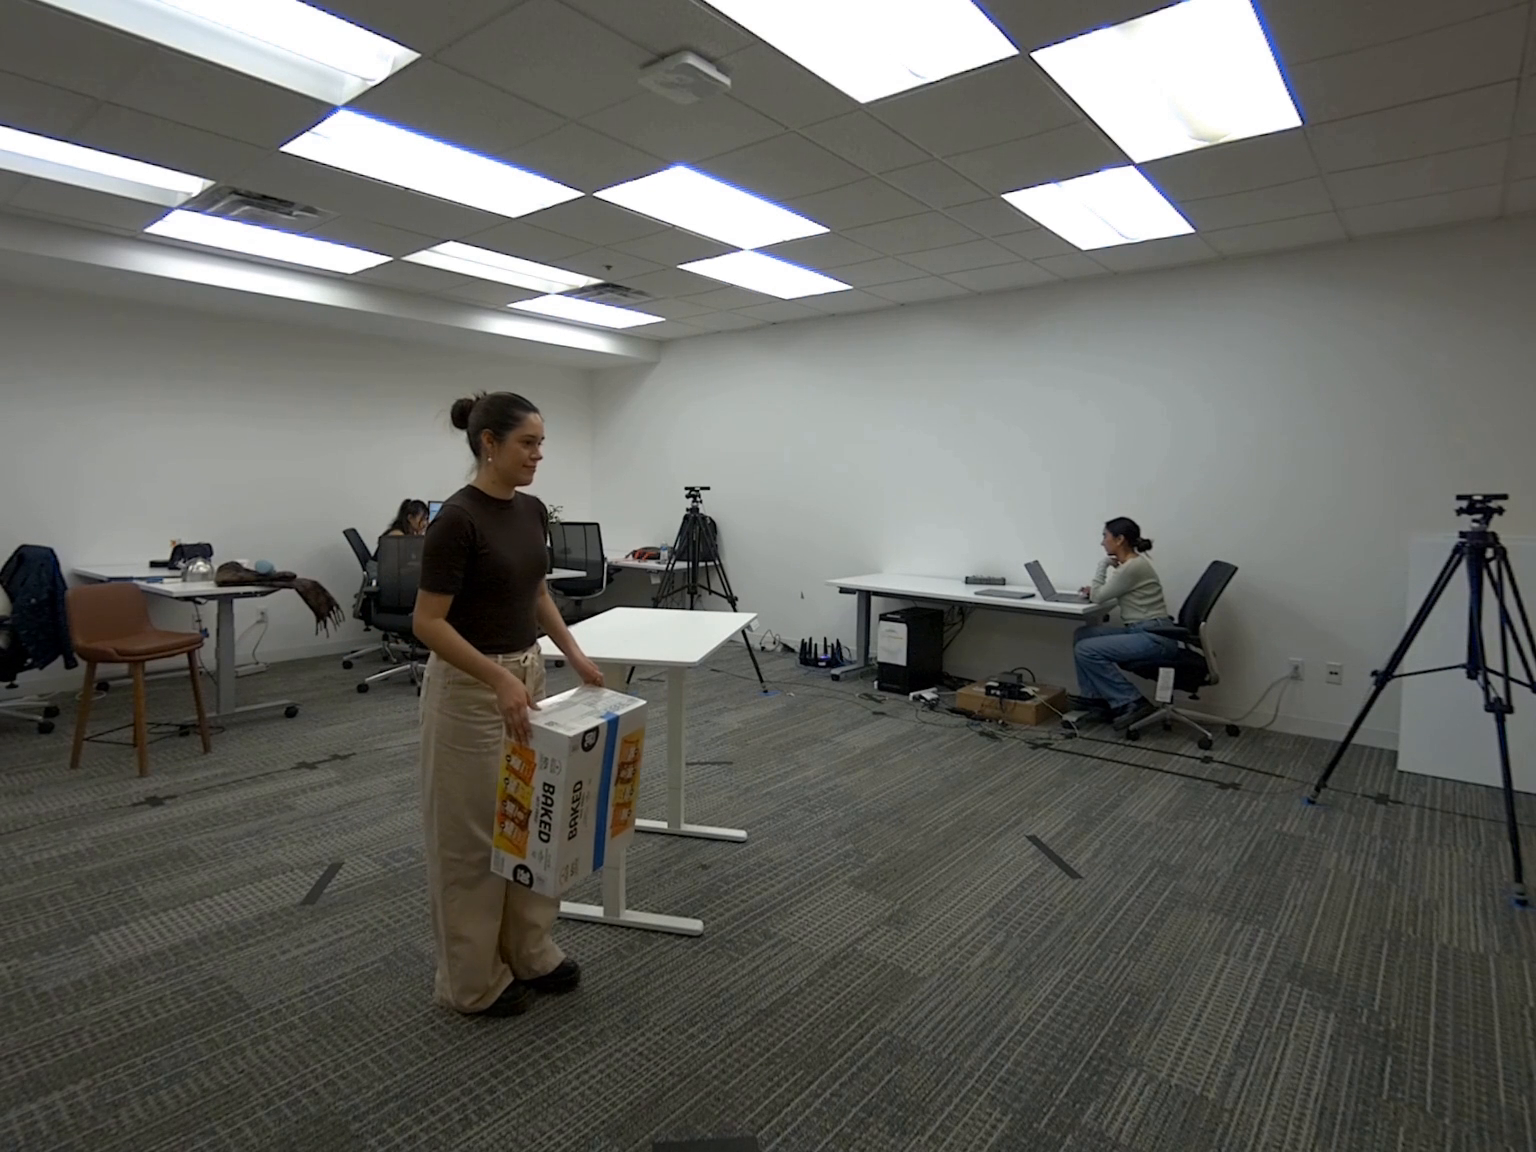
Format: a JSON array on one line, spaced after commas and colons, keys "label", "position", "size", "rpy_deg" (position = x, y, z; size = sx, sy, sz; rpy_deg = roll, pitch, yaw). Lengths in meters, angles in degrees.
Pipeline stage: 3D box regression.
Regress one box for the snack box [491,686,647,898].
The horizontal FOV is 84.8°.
[{"label": "snack box", "position": [-0.509, 0.529, 2.154], "size": [0.212, 0.402, 0.333], "rpy_deg": [11, 9, 24]}]
